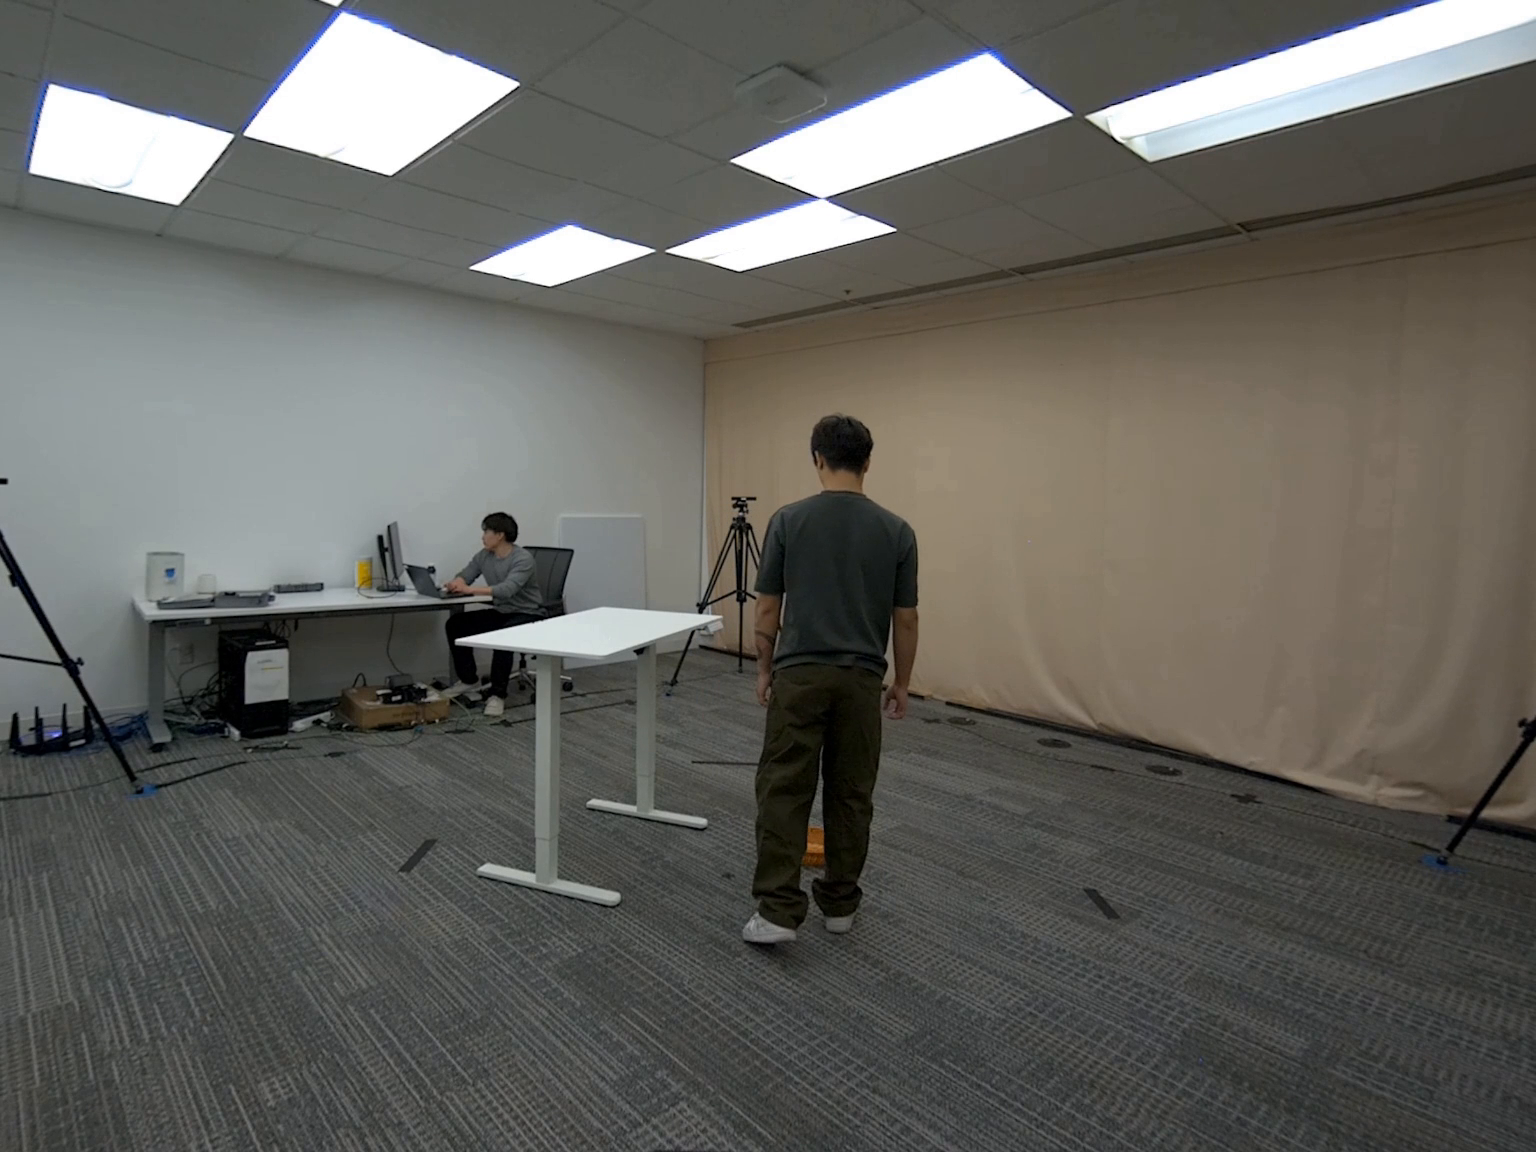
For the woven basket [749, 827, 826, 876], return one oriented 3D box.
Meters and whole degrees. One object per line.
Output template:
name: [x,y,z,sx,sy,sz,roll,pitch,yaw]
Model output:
woven basket: [0.133,1.061,3.302,0.356,0.073,0.249,3,5,19]
